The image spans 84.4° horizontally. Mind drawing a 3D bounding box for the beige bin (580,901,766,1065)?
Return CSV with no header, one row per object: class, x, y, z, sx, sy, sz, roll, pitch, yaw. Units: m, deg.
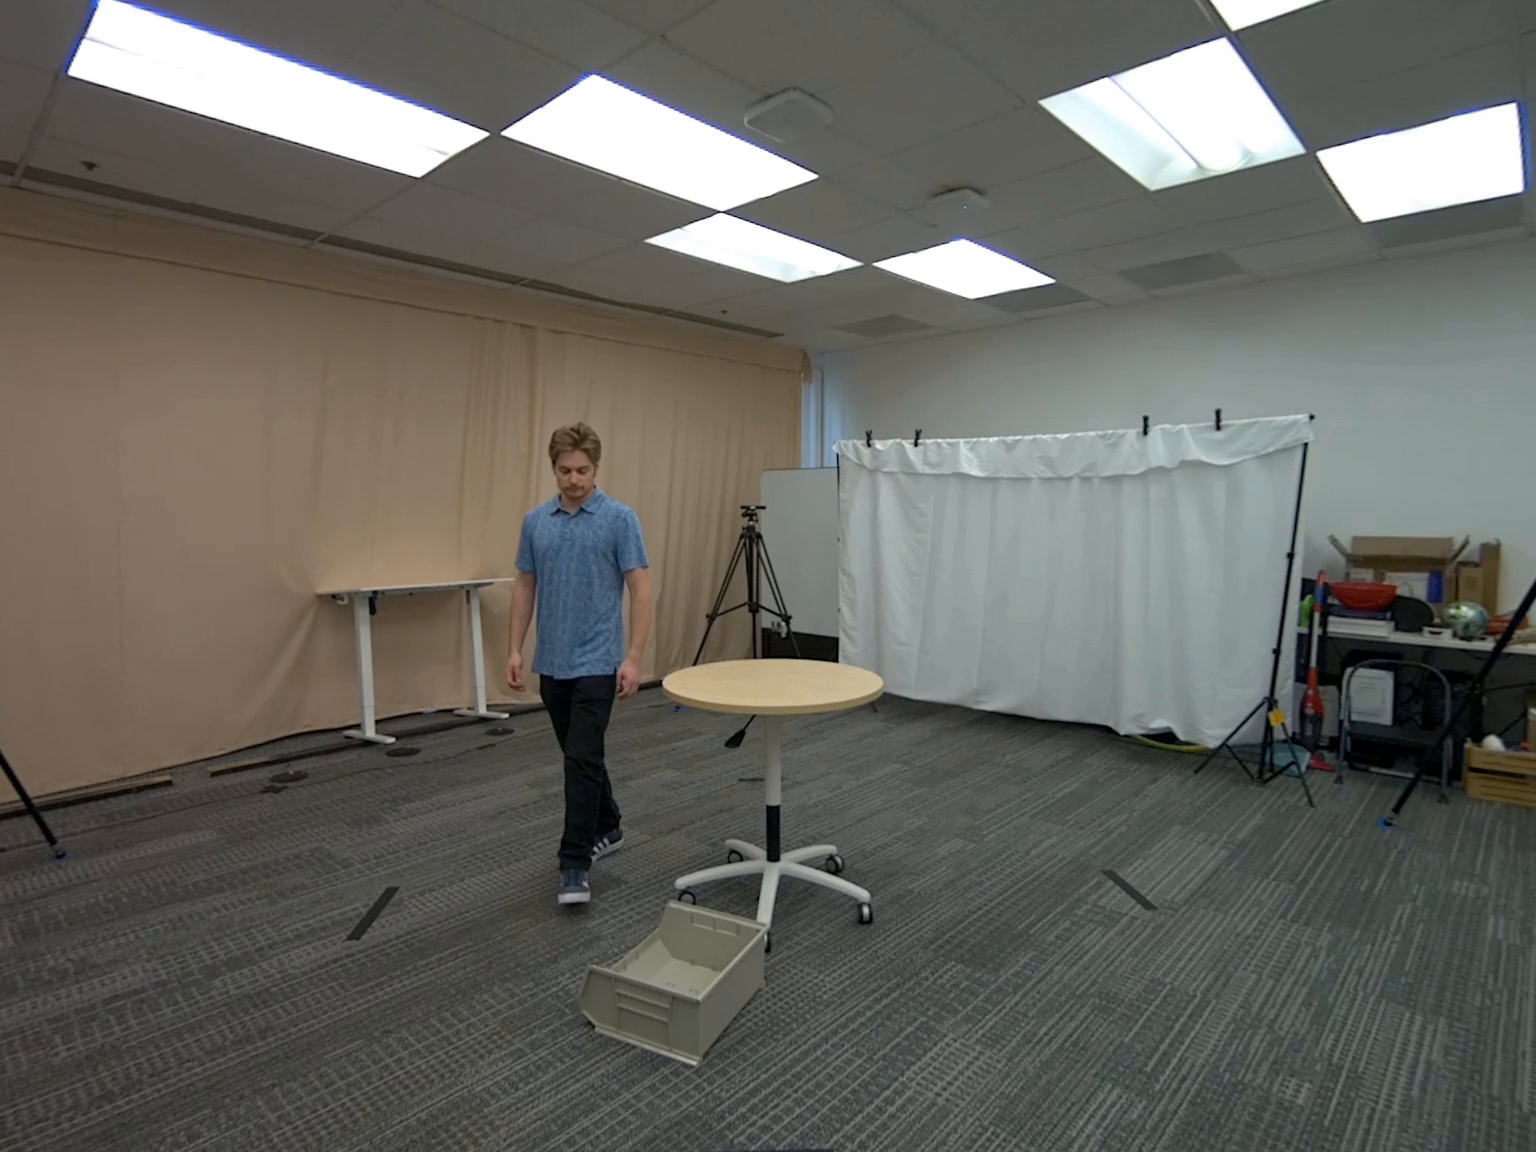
beige bin,-0.250,1.109,2.344,0.387,0.188,0.412,3,5,26
